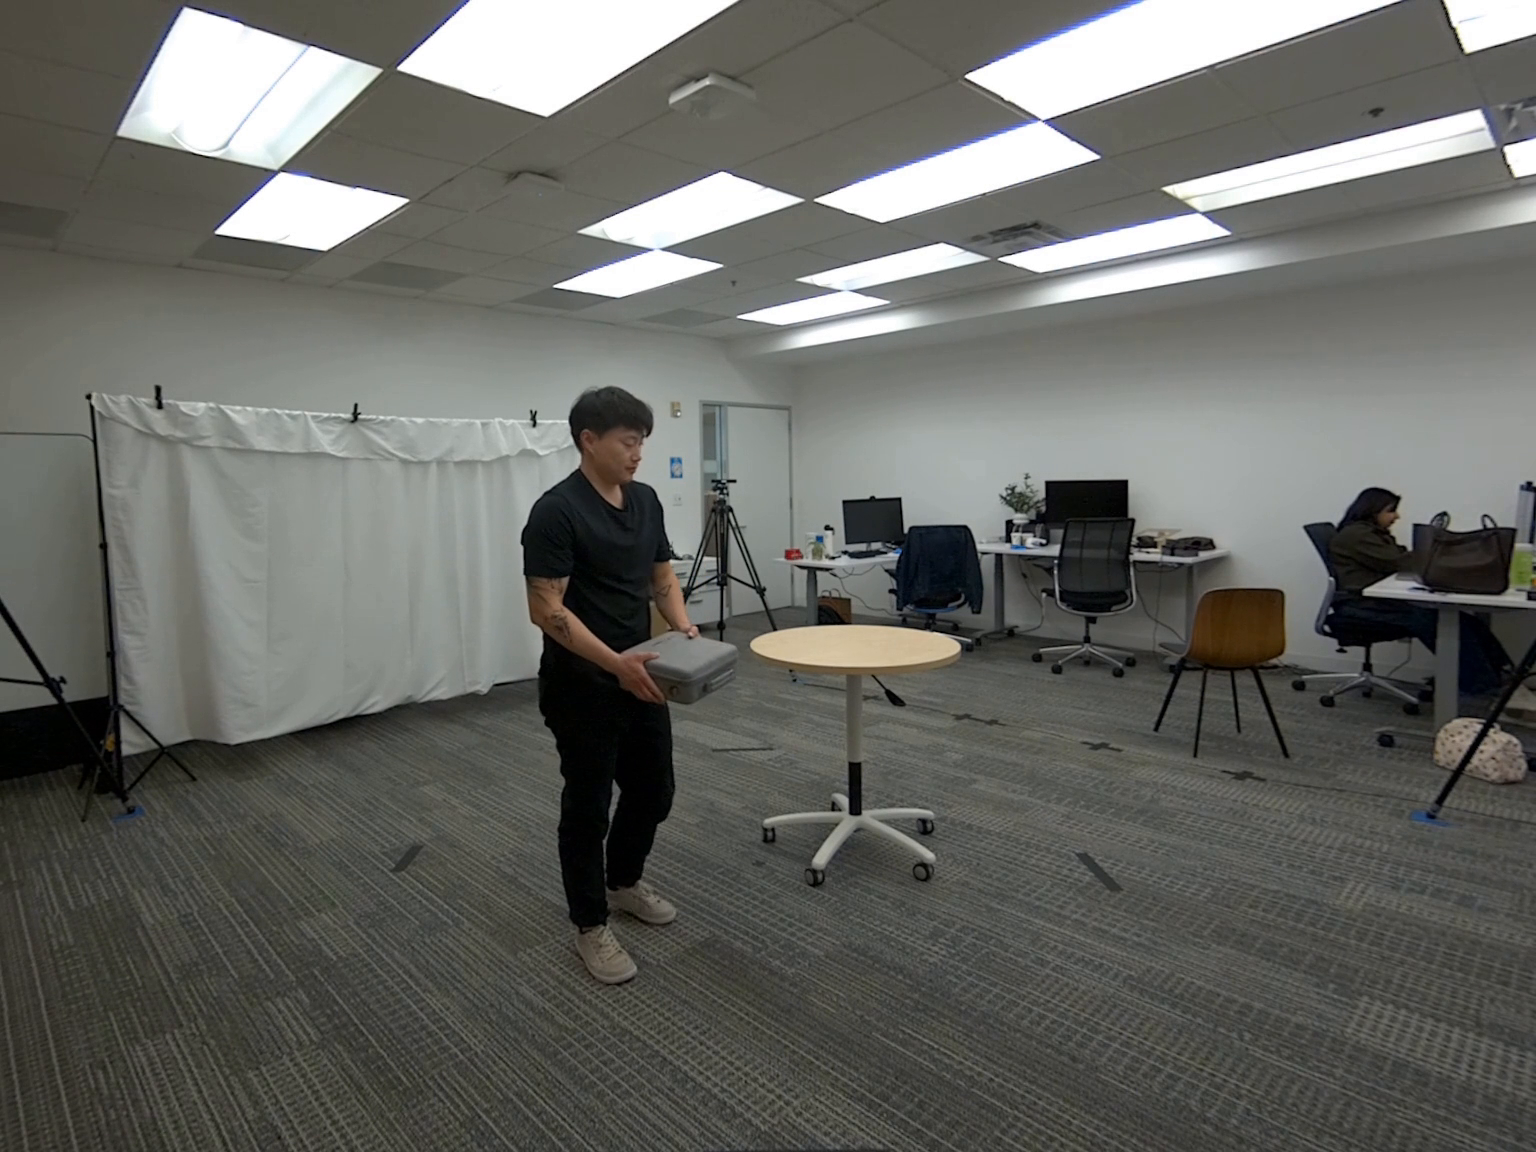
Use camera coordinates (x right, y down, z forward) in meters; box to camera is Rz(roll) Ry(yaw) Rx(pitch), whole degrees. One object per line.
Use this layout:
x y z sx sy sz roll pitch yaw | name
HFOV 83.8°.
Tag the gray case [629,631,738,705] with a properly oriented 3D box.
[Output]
-0.245 0.247 2.325 0.268 0.103 0.252 7 14 29 | gray case
